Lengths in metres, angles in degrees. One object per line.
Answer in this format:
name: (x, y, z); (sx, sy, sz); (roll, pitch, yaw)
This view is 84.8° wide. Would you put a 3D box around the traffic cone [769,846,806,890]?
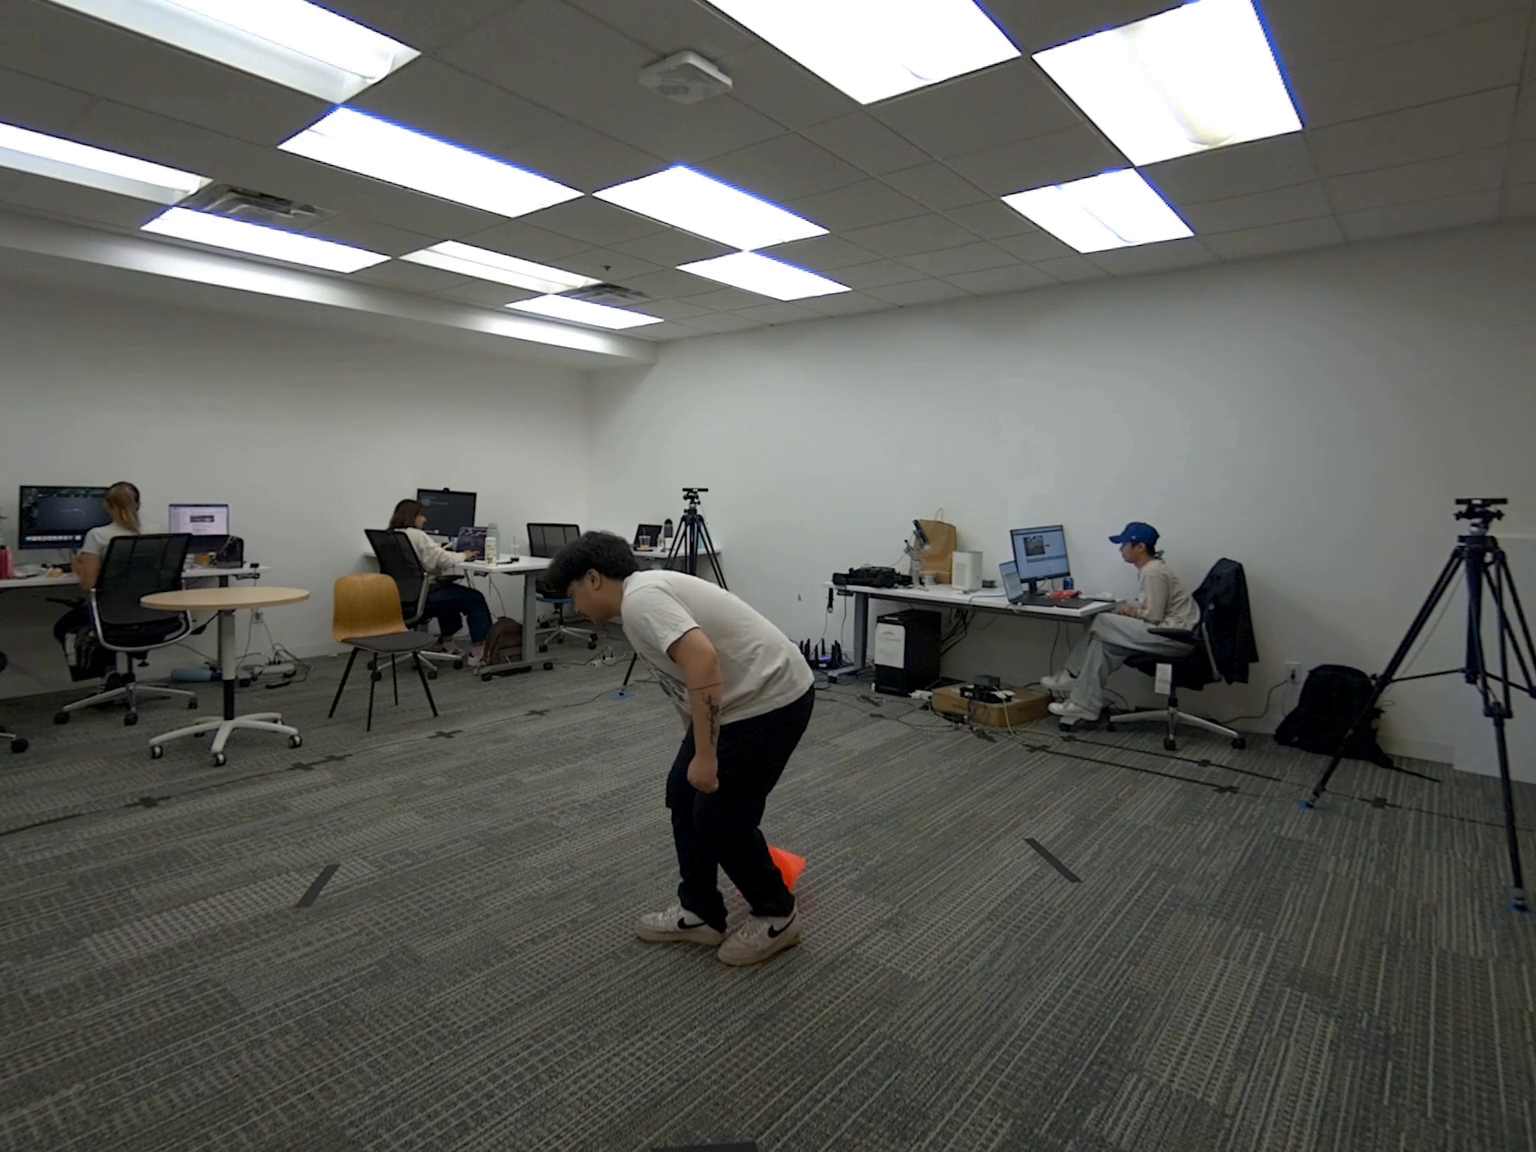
traffic cone: (-0.091, 0.891, 2.817); (0.210, 0.371, 0.205); (-13, 33, 36)
